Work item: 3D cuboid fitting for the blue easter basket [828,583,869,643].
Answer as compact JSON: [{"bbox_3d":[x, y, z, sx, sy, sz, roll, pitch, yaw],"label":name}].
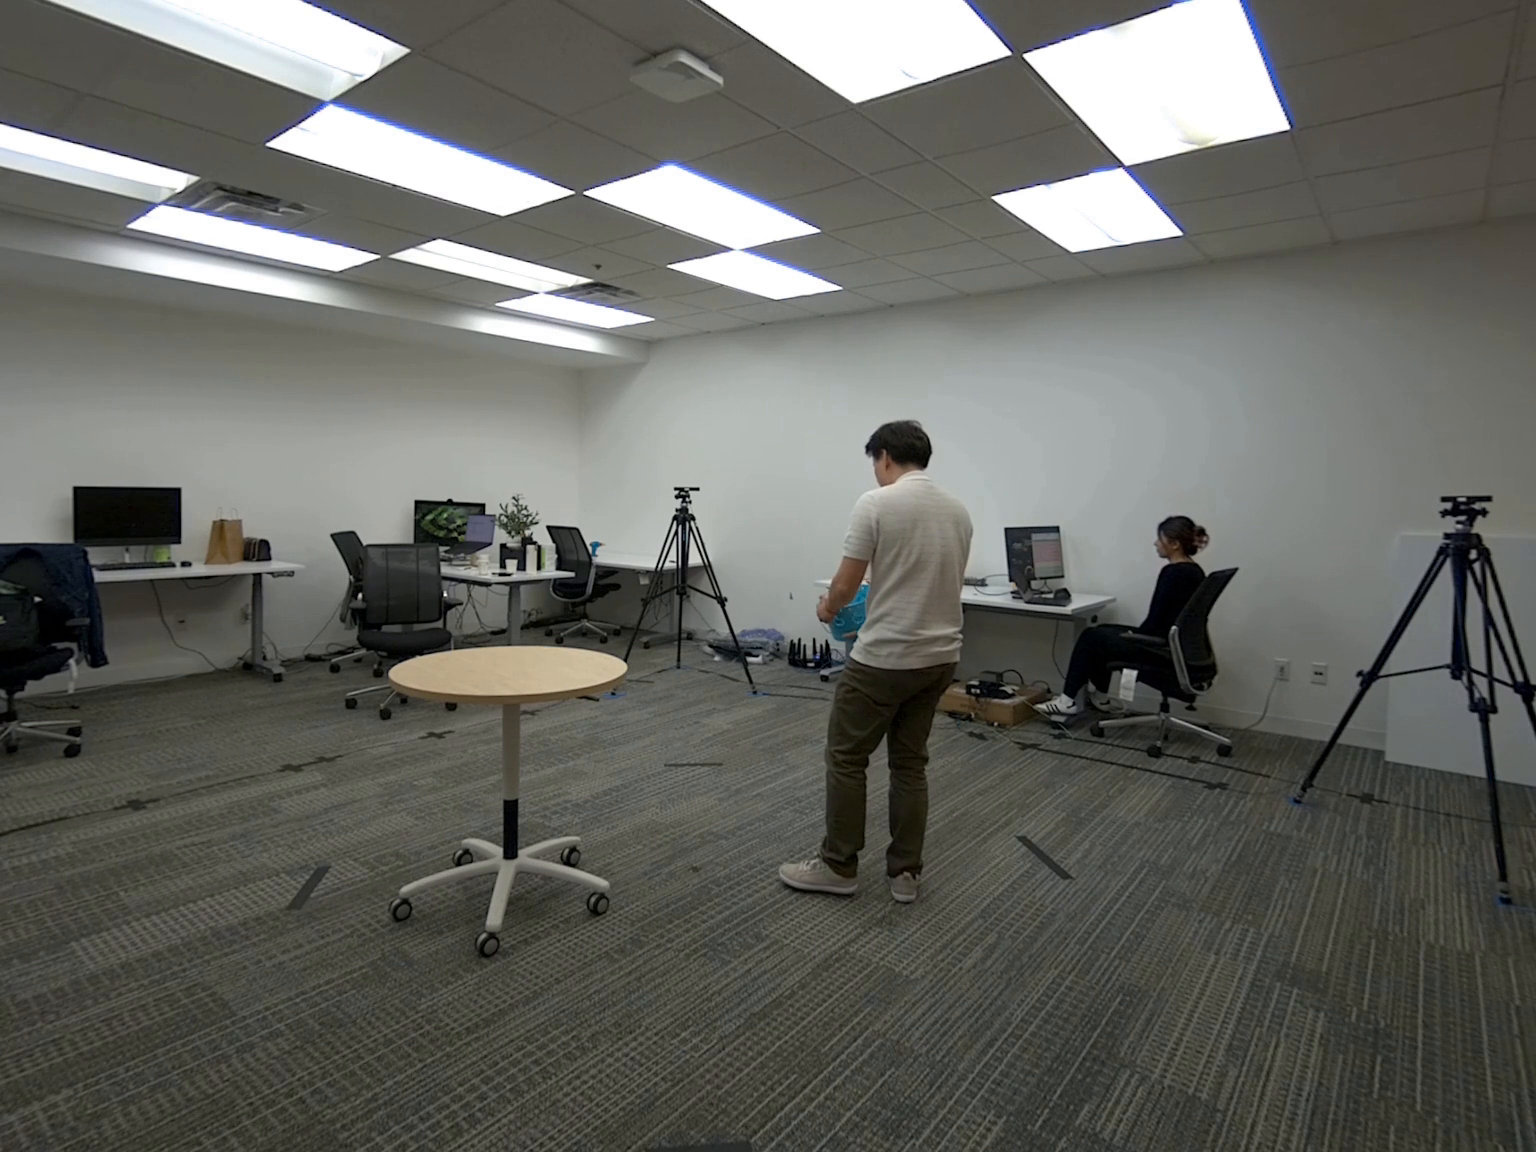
[{"bbox_3d":[0.312,0.154,3.238,0.244,0.154,0.246,-12,11,0],"label":"blue easter basket"}]
